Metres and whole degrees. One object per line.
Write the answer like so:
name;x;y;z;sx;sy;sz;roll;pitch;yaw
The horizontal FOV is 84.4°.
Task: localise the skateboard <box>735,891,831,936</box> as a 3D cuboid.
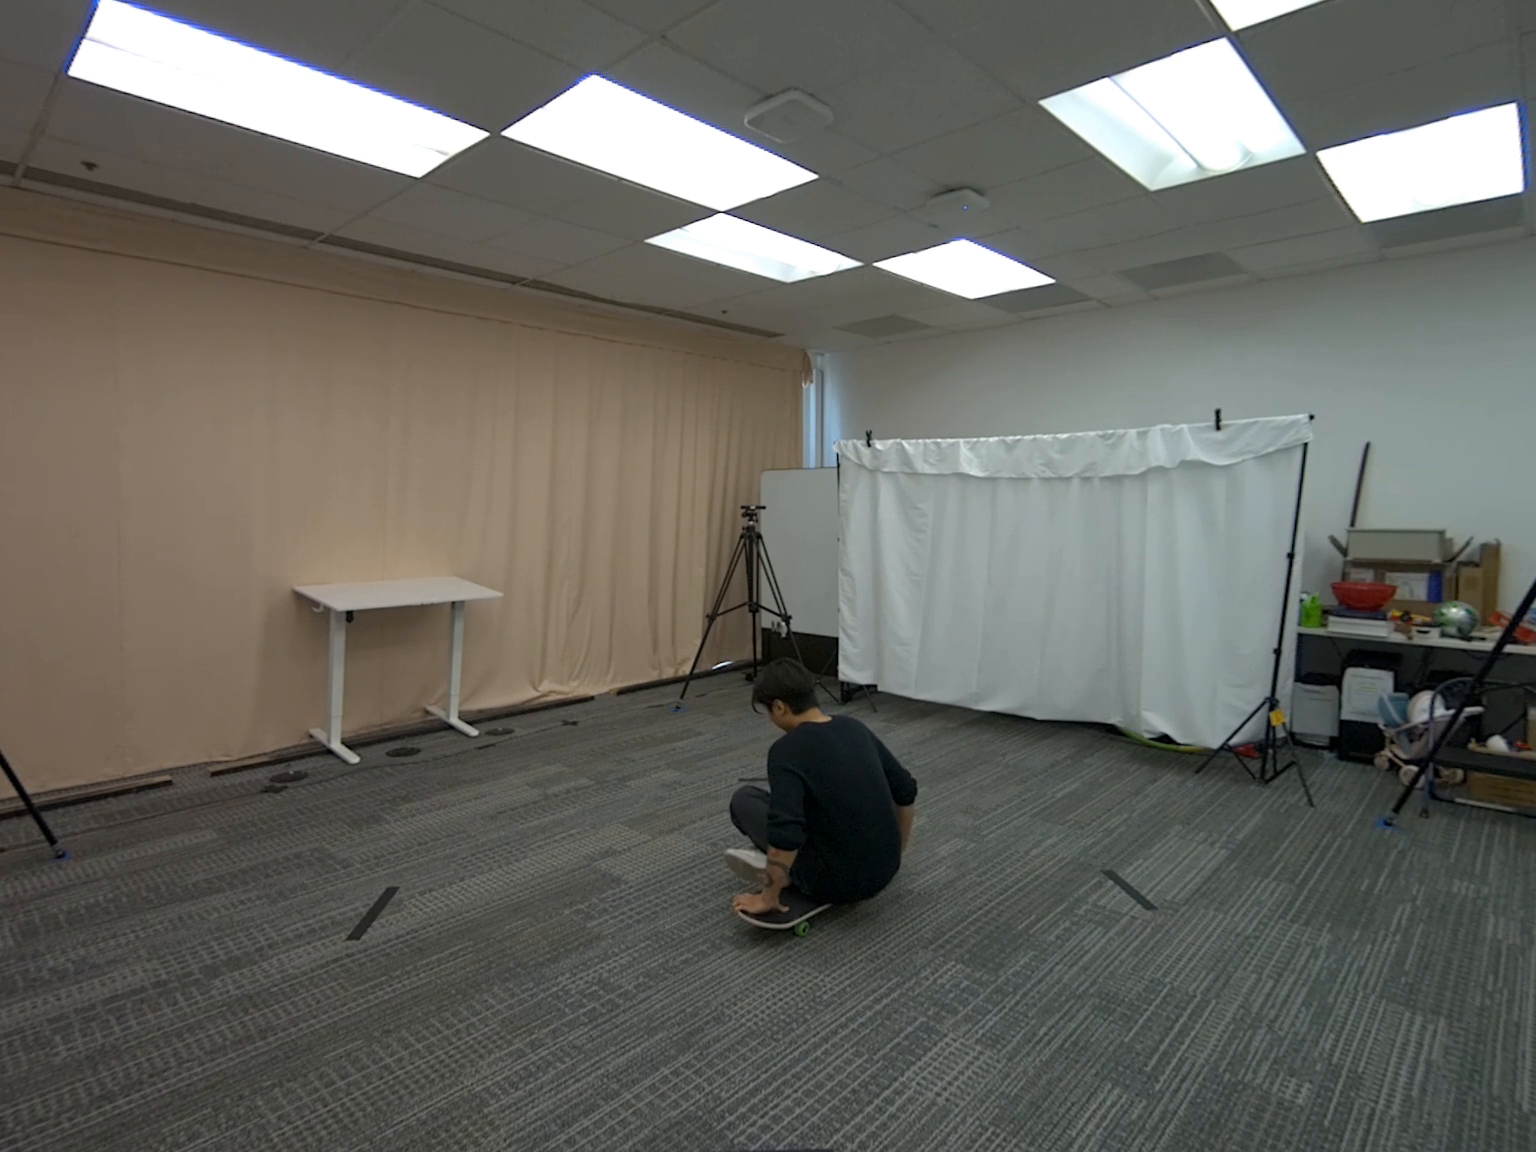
skateboard;0.184;1.101;2.929;0.200;0.110;0.762;7;8;38
